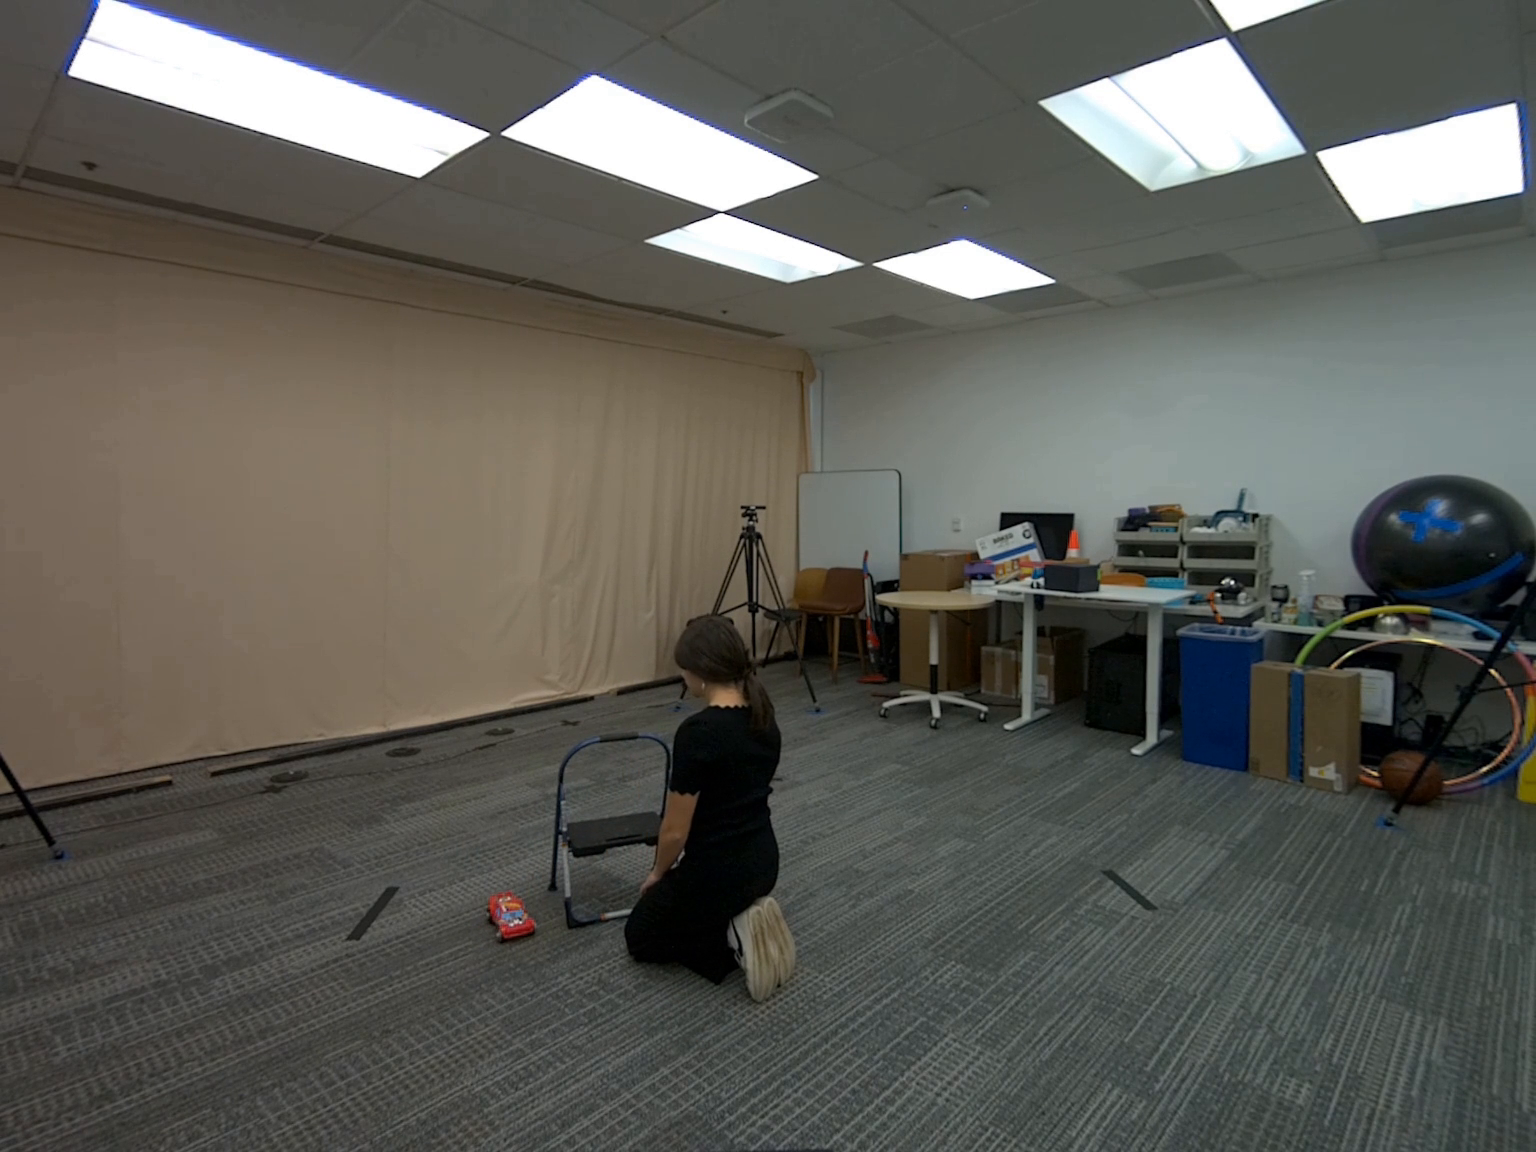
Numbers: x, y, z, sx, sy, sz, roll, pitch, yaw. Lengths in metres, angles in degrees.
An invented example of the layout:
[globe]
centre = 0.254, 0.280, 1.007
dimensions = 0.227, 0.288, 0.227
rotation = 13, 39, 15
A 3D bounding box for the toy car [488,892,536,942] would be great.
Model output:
[toy car]
centre = -0.871, 1.142, 2.799
dimensions = 0.127, 0.082, 0.263
rotation = -4, 15, -29
